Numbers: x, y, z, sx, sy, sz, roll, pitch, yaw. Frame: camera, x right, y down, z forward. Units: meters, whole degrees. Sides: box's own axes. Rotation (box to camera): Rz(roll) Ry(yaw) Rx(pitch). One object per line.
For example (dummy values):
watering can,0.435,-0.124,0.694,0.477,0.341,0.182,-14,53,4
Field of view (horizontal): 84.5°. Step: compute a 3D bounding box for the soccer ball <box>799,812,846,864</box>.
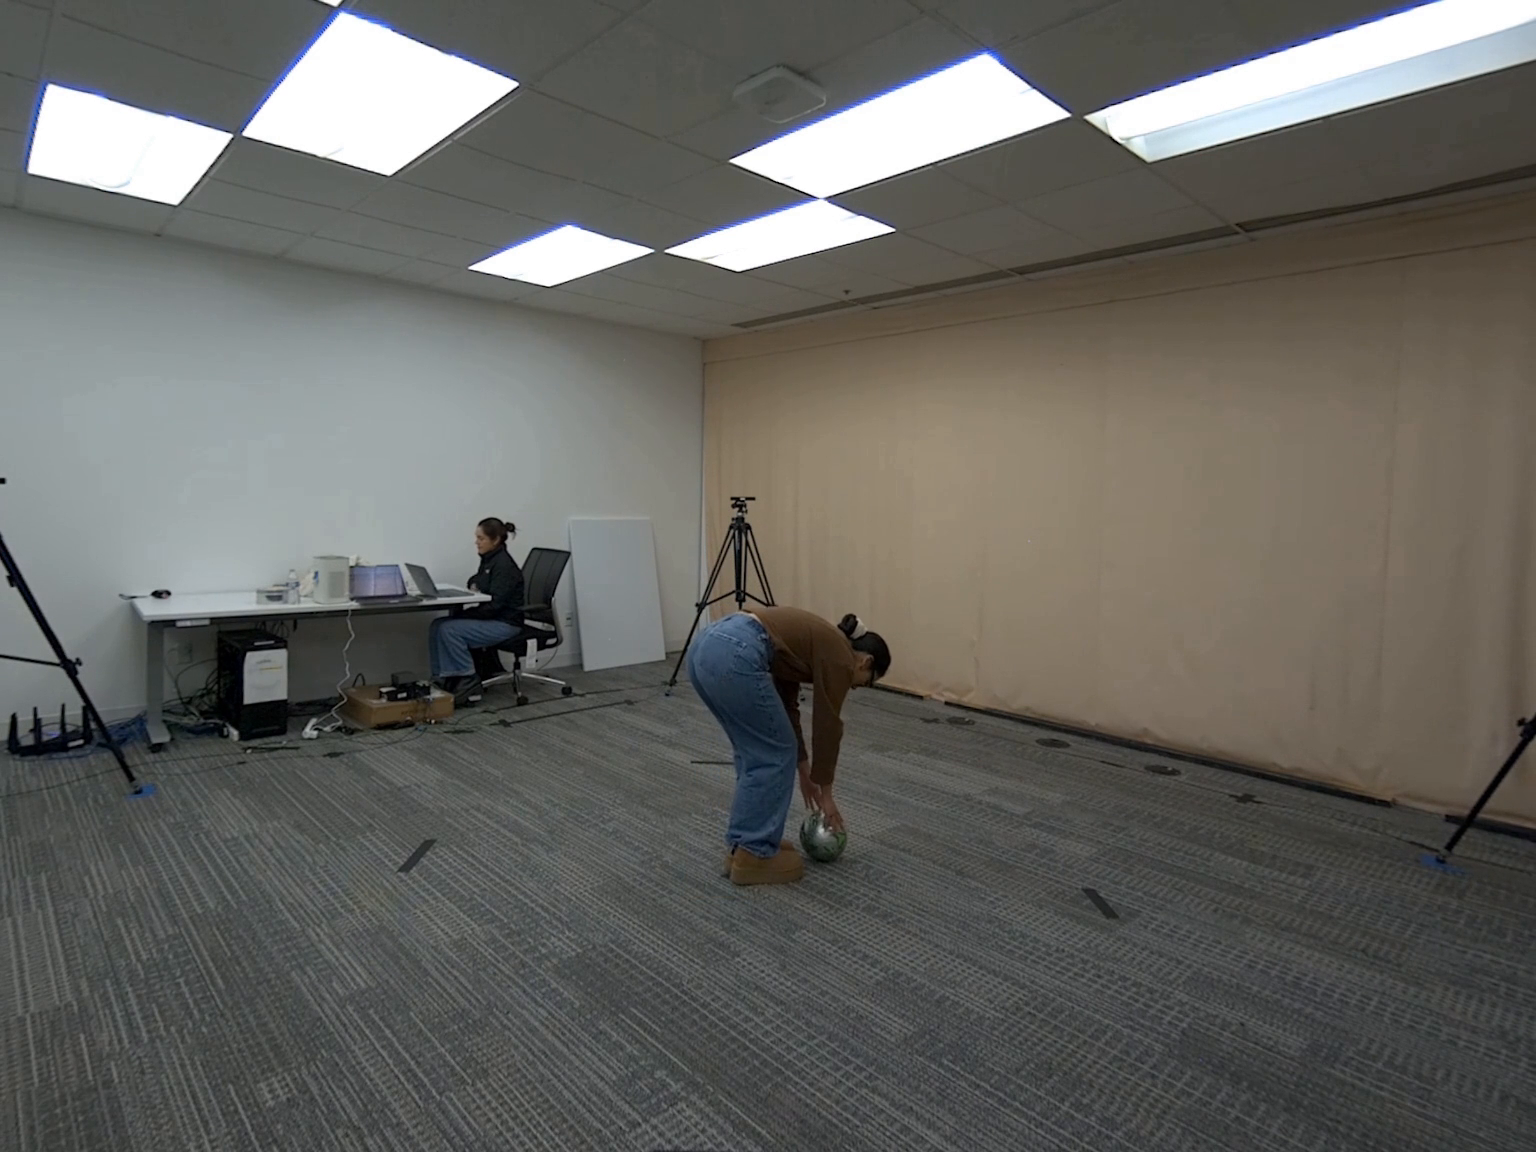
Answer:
soccer ball,0.207,1.007,3.270,0.187,0.187,0.188,1,4,-1
